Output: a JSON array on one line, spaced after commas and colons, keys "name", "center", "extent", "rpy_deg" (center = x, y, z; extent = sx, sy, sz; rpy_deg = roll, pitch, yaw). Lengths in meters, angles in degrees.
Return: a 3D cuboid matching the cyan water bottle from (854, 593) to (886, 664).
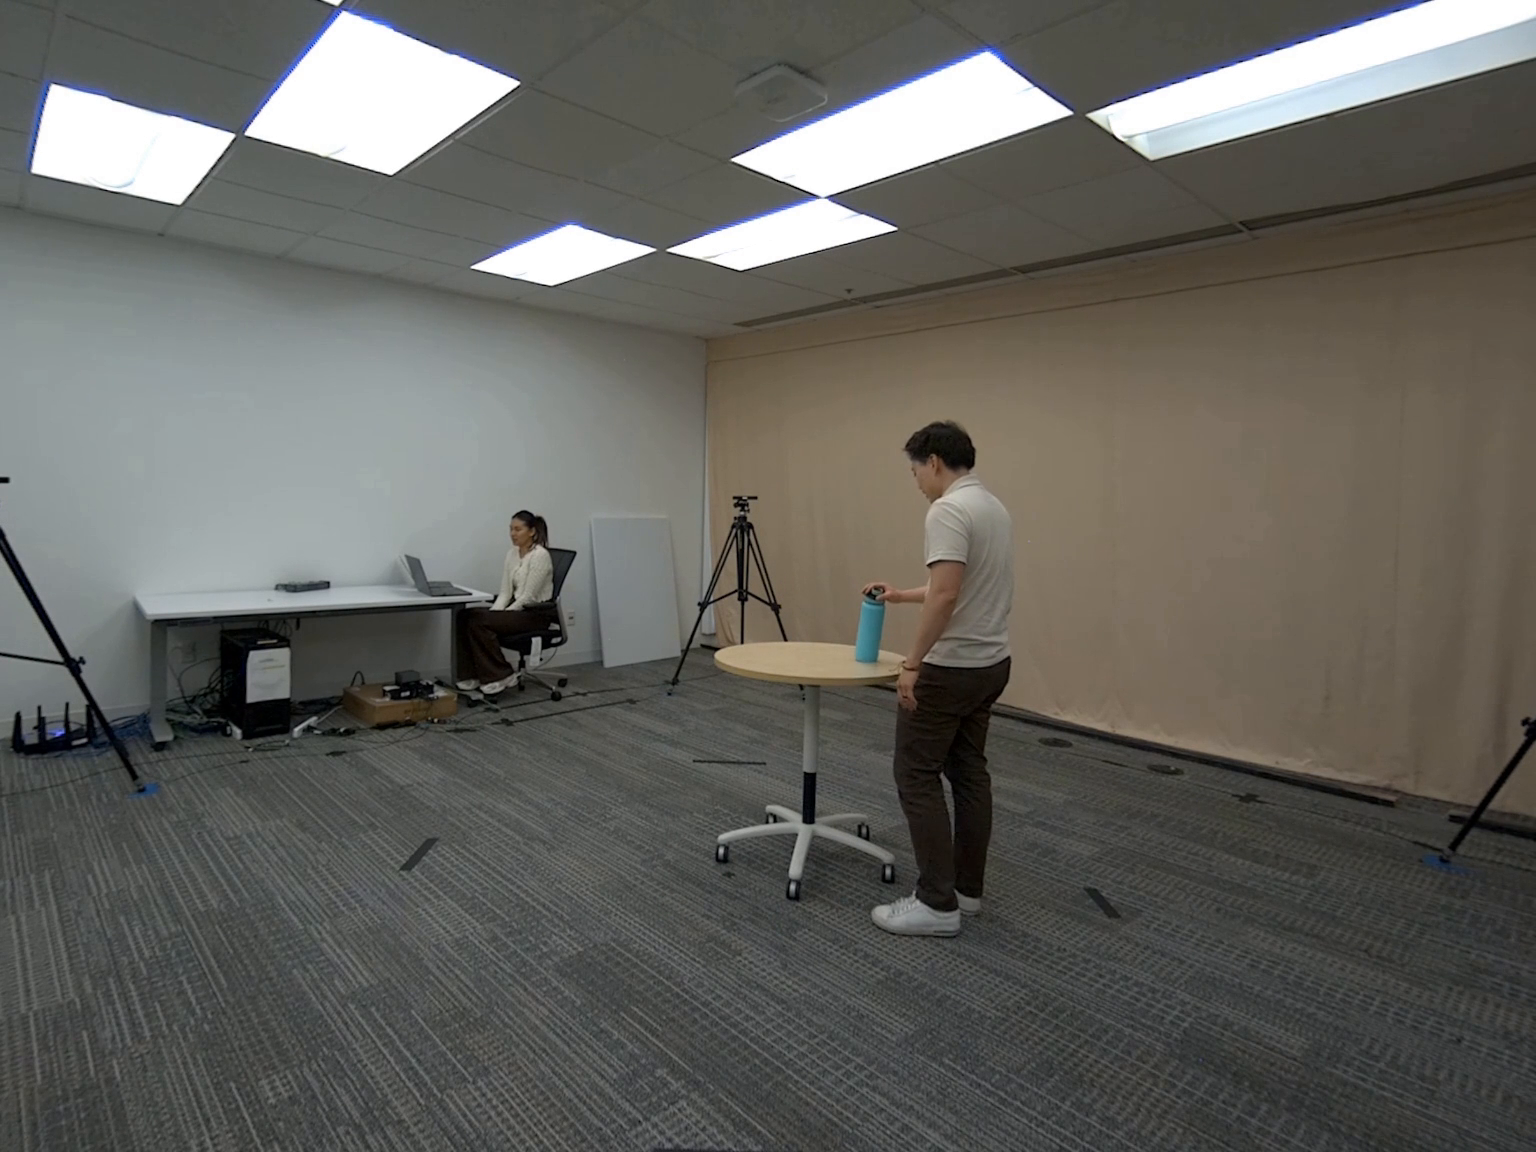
[{"name": "cyan water bottle", "center": [0.384, 0.184, 3.181], "extent": [0.092, 0.280, 0.093], "rpy_deg": [5, 16, -3]}]
